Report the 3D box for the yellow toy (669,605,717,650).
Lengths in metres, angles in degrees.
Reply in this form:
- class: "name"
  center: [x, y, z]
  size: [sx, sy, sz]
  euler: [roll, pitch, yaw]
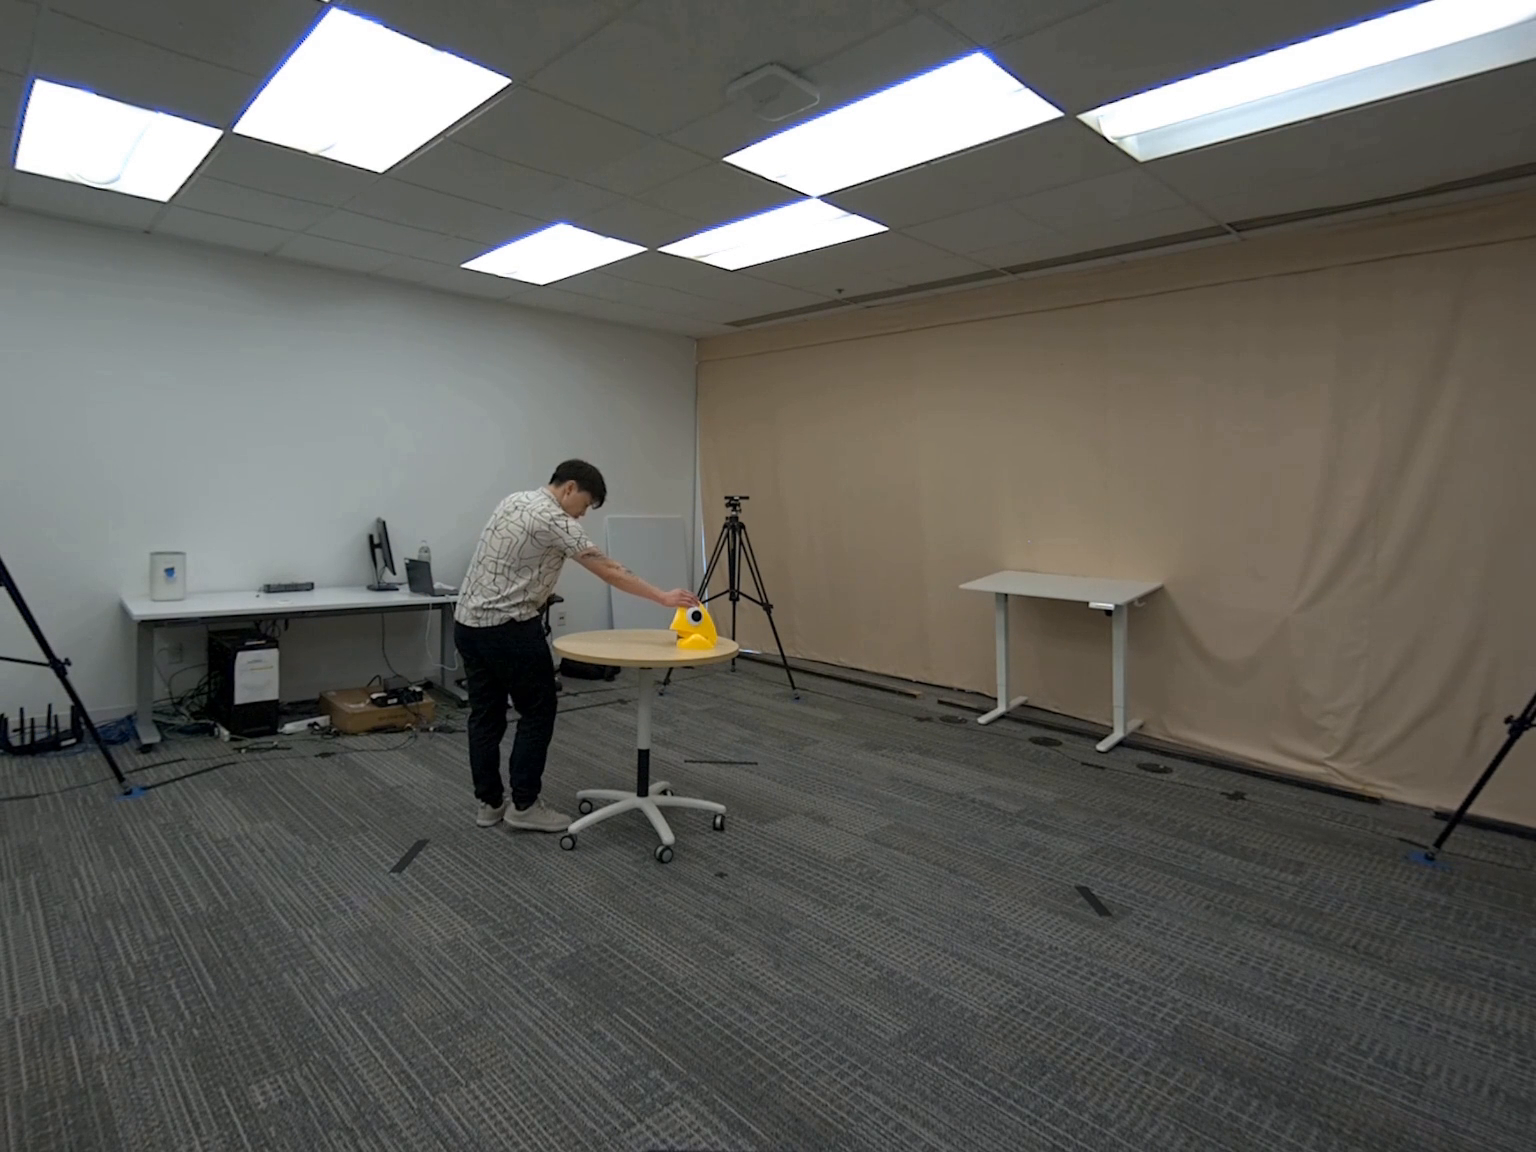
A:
- class: "yellow toy"
  center: [-0.305, 0.174, 3.477]
  size: [0.193, 0.230, 0.205]
  euler: [1, 3, 0]
